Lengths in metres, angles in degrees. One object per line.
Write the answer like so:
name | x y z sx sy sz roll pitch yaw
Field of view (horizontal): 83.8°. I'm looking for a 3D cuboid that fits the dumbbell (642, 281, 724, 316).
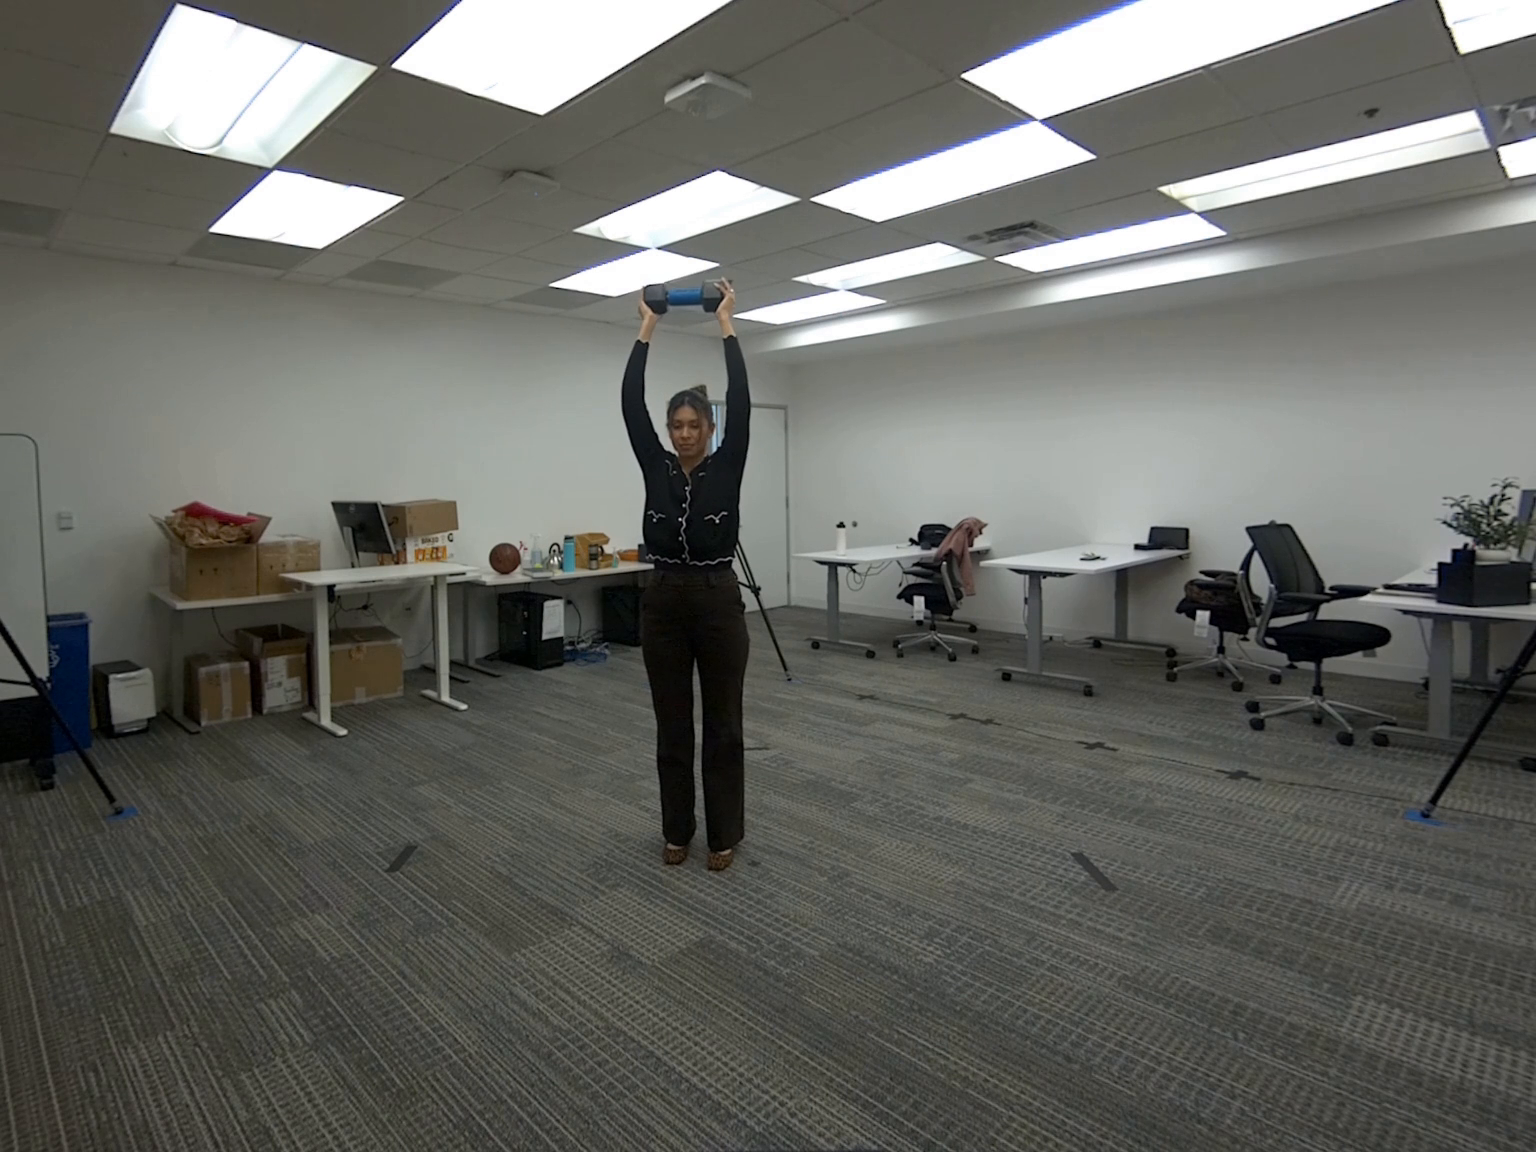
dumbbell | -0.303 -0.998 3.070 0.296 0.106 0.124 0 23 9
